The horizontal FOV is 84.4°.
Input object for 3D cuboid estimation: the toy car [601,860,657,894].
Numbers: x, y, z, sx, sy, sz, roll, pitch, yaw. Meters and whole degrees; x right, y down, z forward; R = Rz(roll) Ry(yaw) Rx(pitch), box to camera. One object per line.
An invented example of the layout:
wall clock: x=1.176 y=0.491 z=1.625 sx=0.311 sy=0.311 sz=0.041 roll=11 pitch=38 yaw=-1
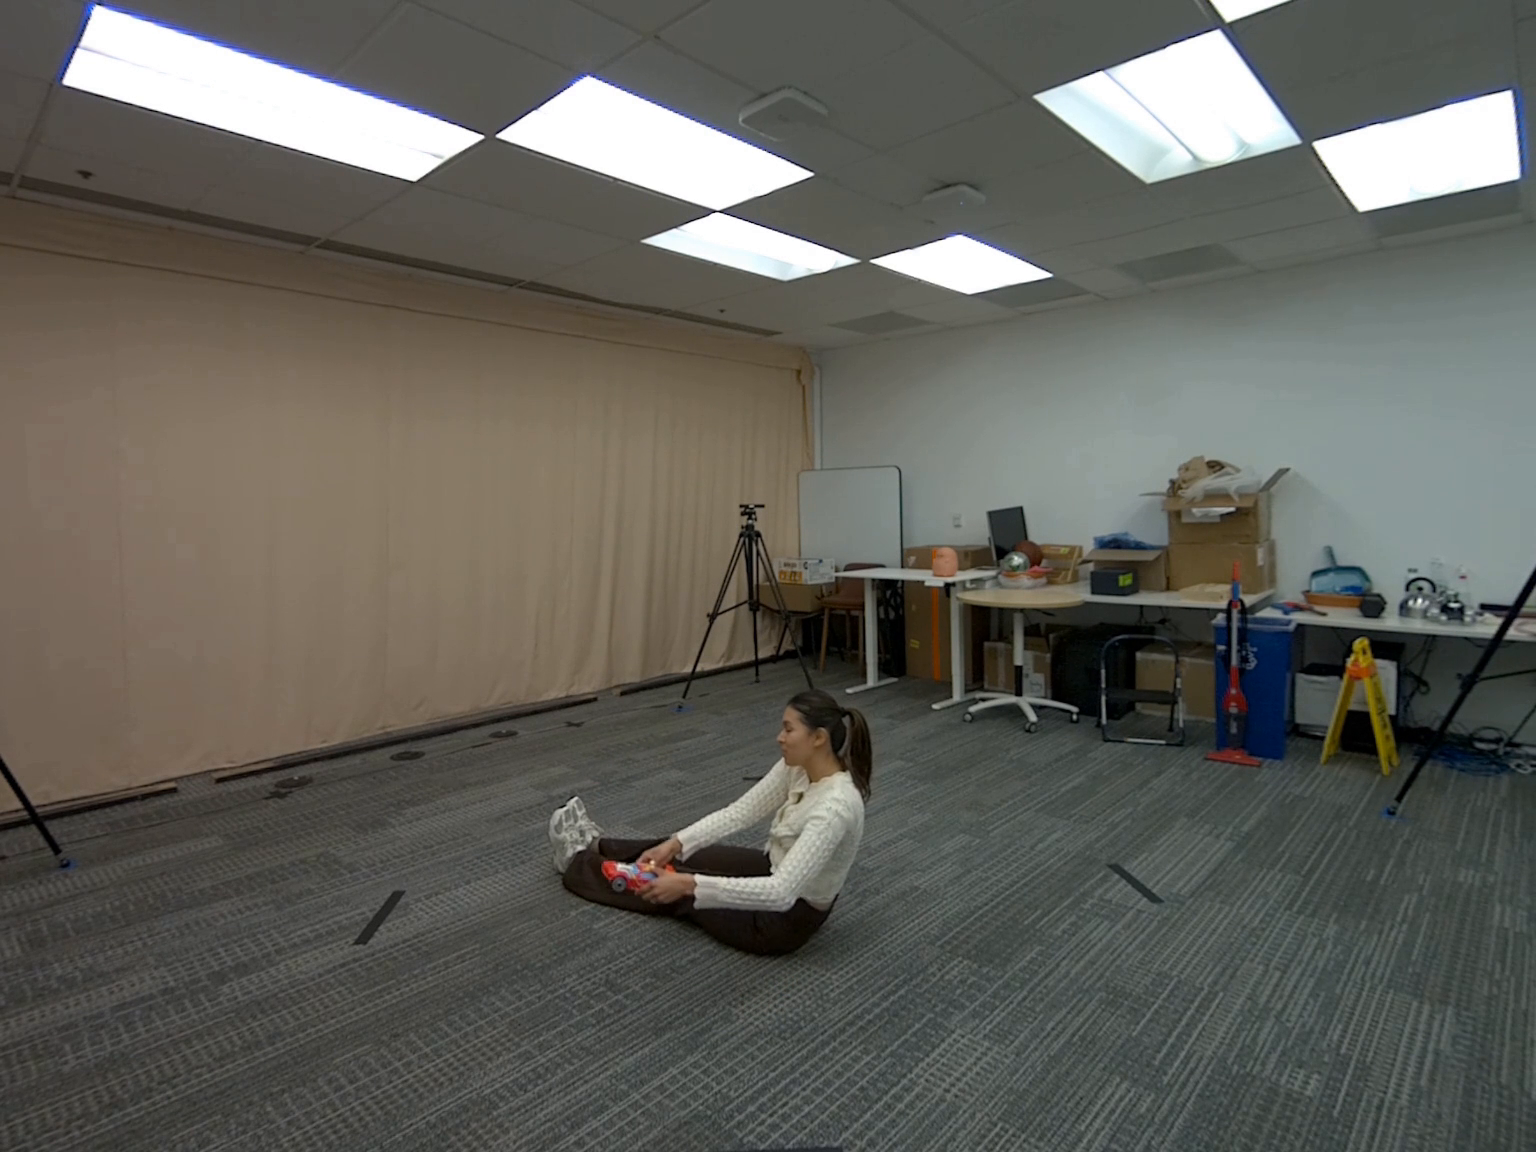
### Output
toy car: x=-0.340 y=0.873 z=2.403 sx=0.248 sy=0.083 sz=0.133 roll=10 pitch=-2 yaw=-22
